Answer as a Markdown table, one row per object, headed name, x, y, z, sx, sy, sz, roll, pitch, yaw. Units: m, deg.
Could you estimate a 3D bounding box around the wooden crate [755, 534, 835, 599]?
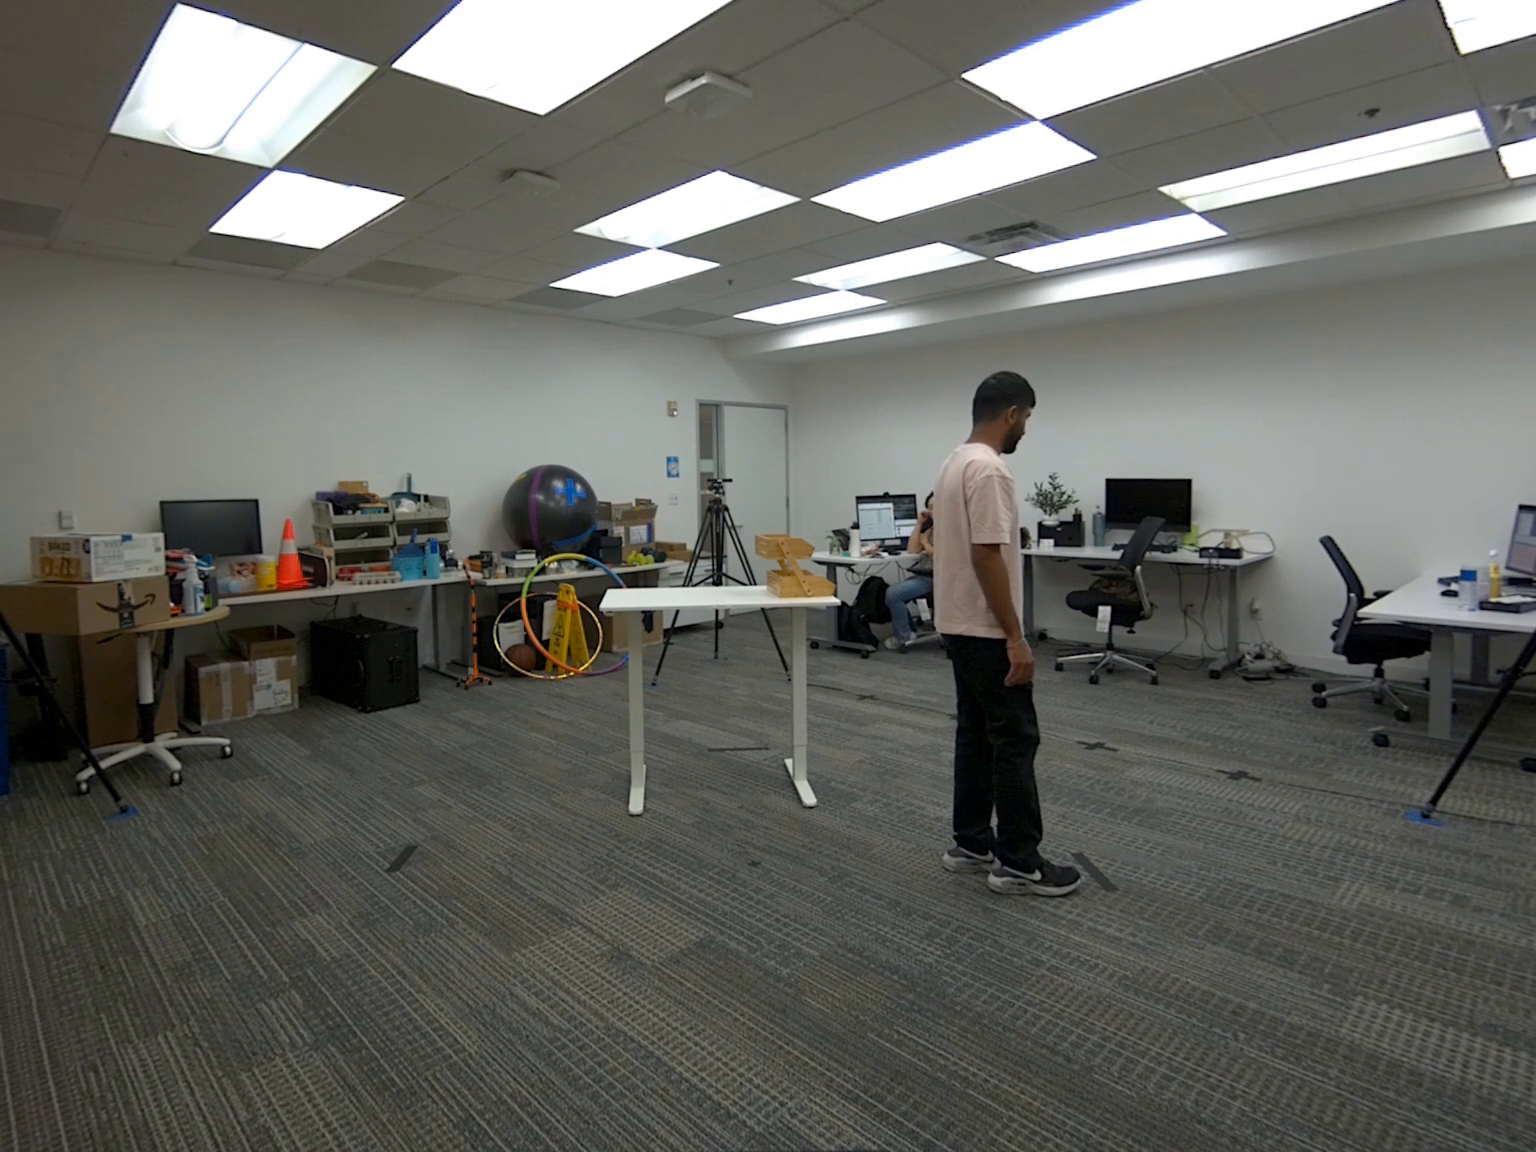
| name | x | y | z | sx | sy | sz | roll | pitch | yaw |
| --- | --- | --- | --- | --- | --- | --- | --- | --- | --- |
| wooden crate | 0.128 | -0.052 | 3.864 | 0.300 | 0.272 | 0.328 | -1 | 5 | -9 |
